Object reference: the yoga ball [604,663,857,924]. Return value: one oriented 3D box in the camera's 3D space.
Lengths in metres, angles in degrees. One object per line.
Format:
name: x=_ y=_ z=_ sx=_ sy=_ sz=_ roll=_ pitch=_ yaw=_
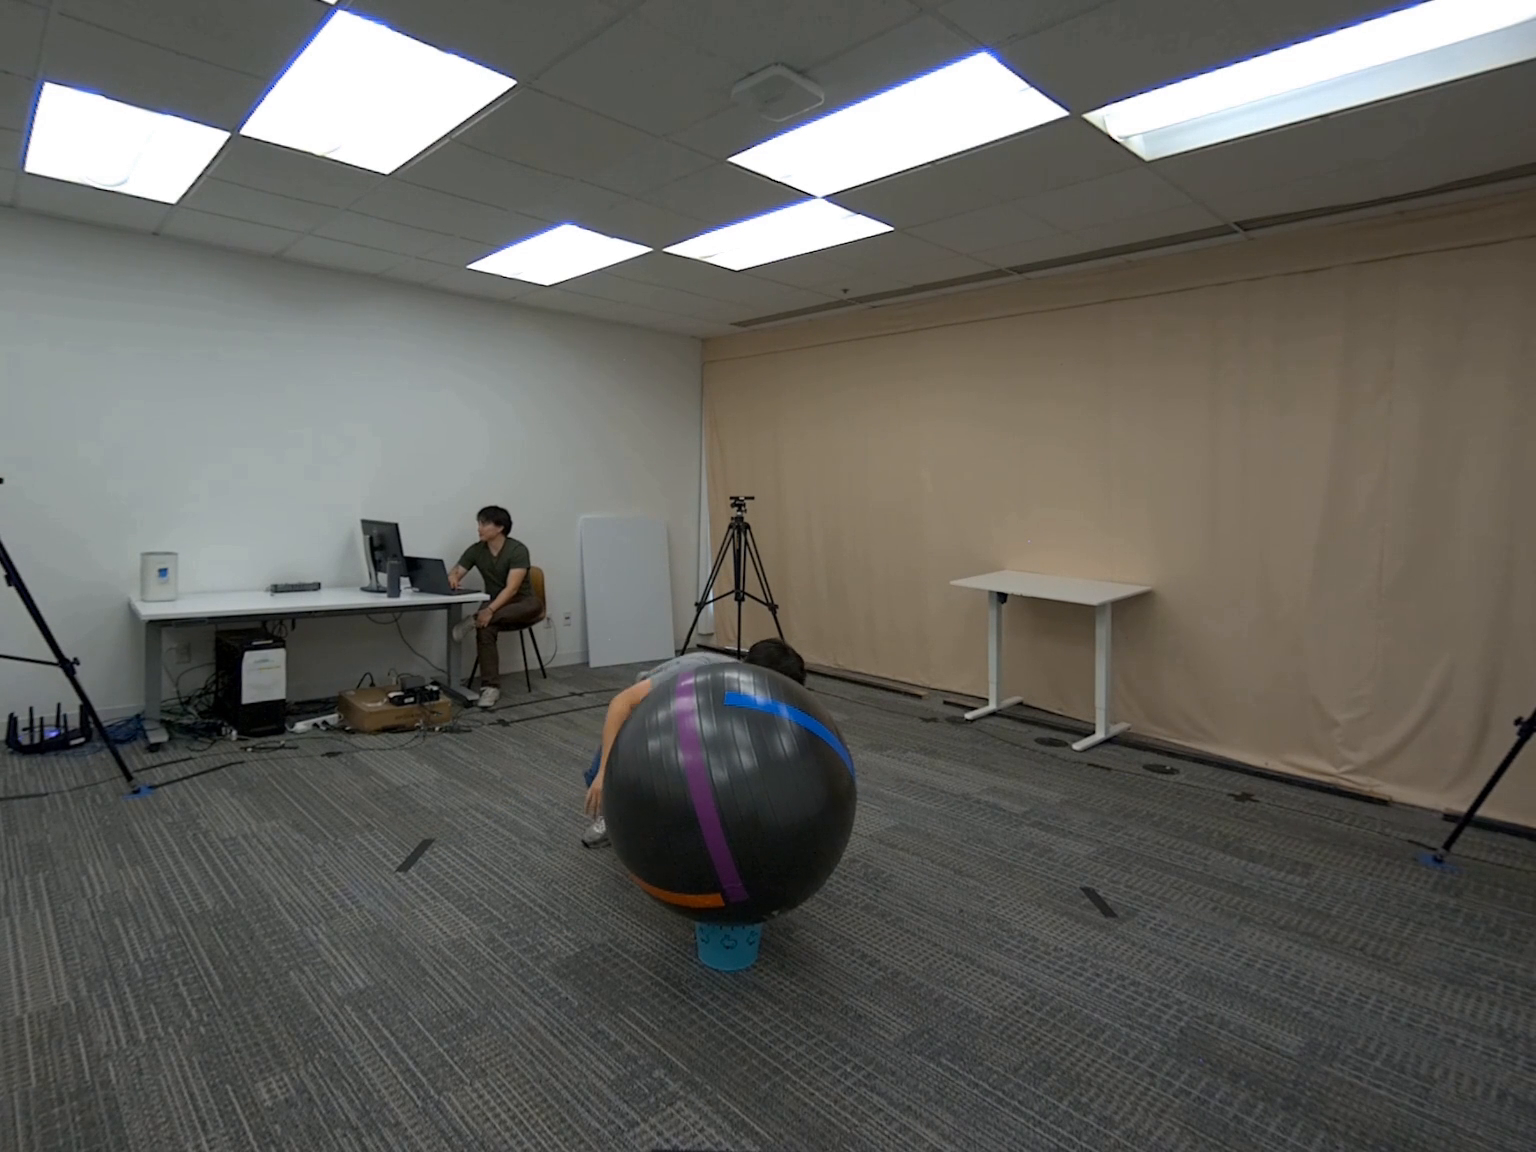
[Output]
yoga ball: x=-0.118 y=0.649 z=2.528 sx=0.757 sy=0.756 sz=0.761 roll=1 pitch=4 yaw=-1
